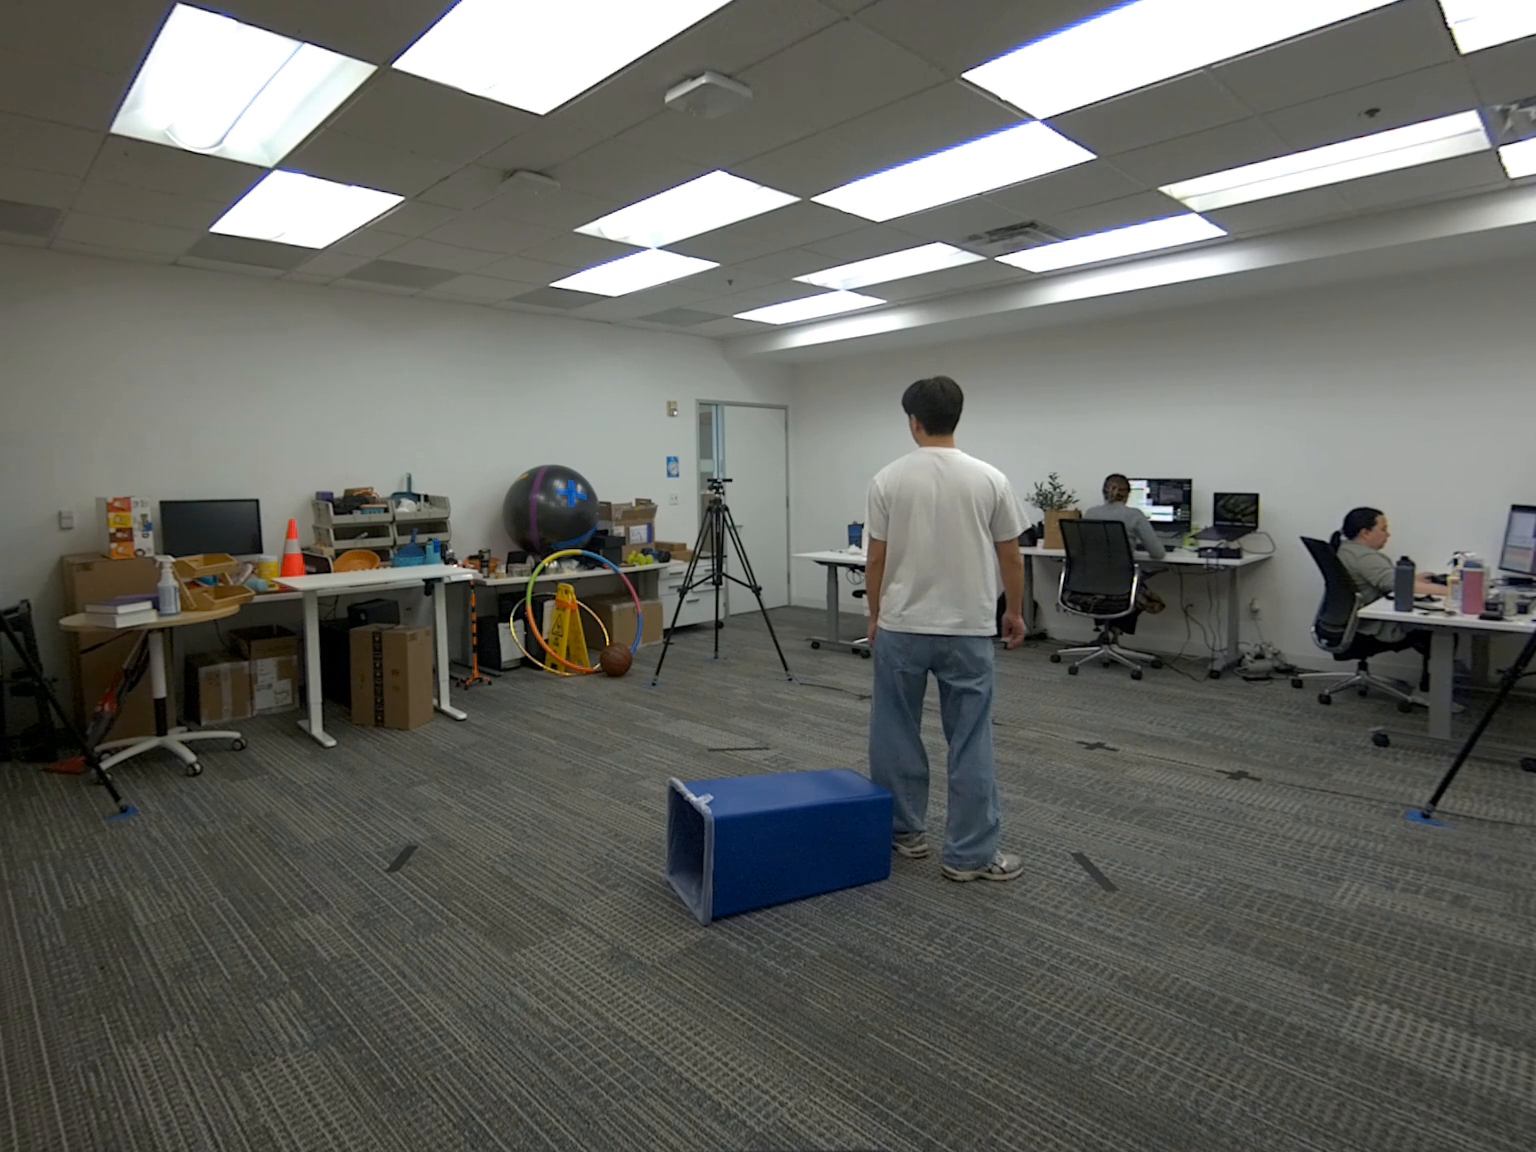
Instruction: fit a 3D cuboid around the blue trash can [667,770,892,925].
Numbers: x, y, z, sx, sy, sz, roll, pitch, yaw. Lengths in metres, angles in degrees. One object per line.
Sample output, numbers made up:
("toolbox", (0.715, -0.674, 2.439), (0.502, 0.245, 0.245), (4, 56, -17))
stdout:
("blue trash can", (0.042, 0.897, 2.956), (0.698, 0.377, 0.383), (0, 4, -25))
